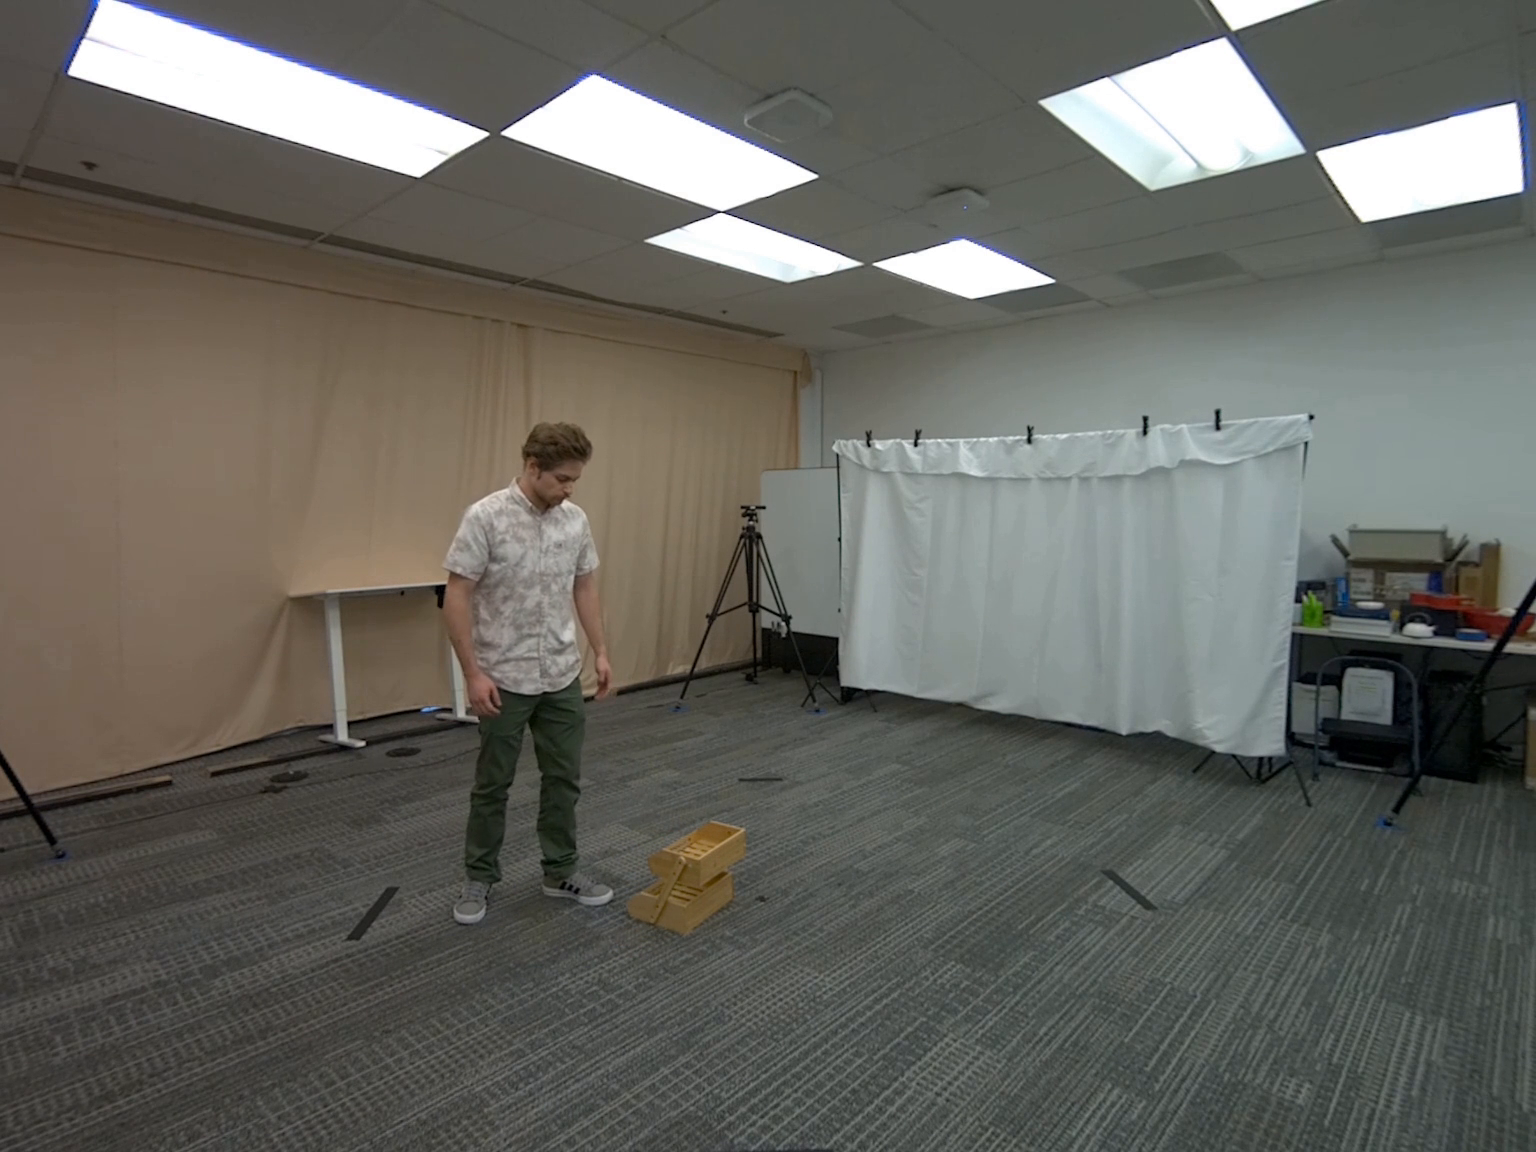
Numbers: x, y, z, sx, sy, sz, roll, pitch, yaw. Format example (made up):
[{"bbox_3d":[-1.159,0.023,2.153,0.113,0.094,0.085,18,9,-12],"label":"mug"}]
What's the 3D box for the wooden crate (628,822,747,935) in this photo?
[{"bbox_3d":[-0.283,1.018,2.904,0.311,0.272,0.316,3,5,30],"label":"wooden crate"}]
